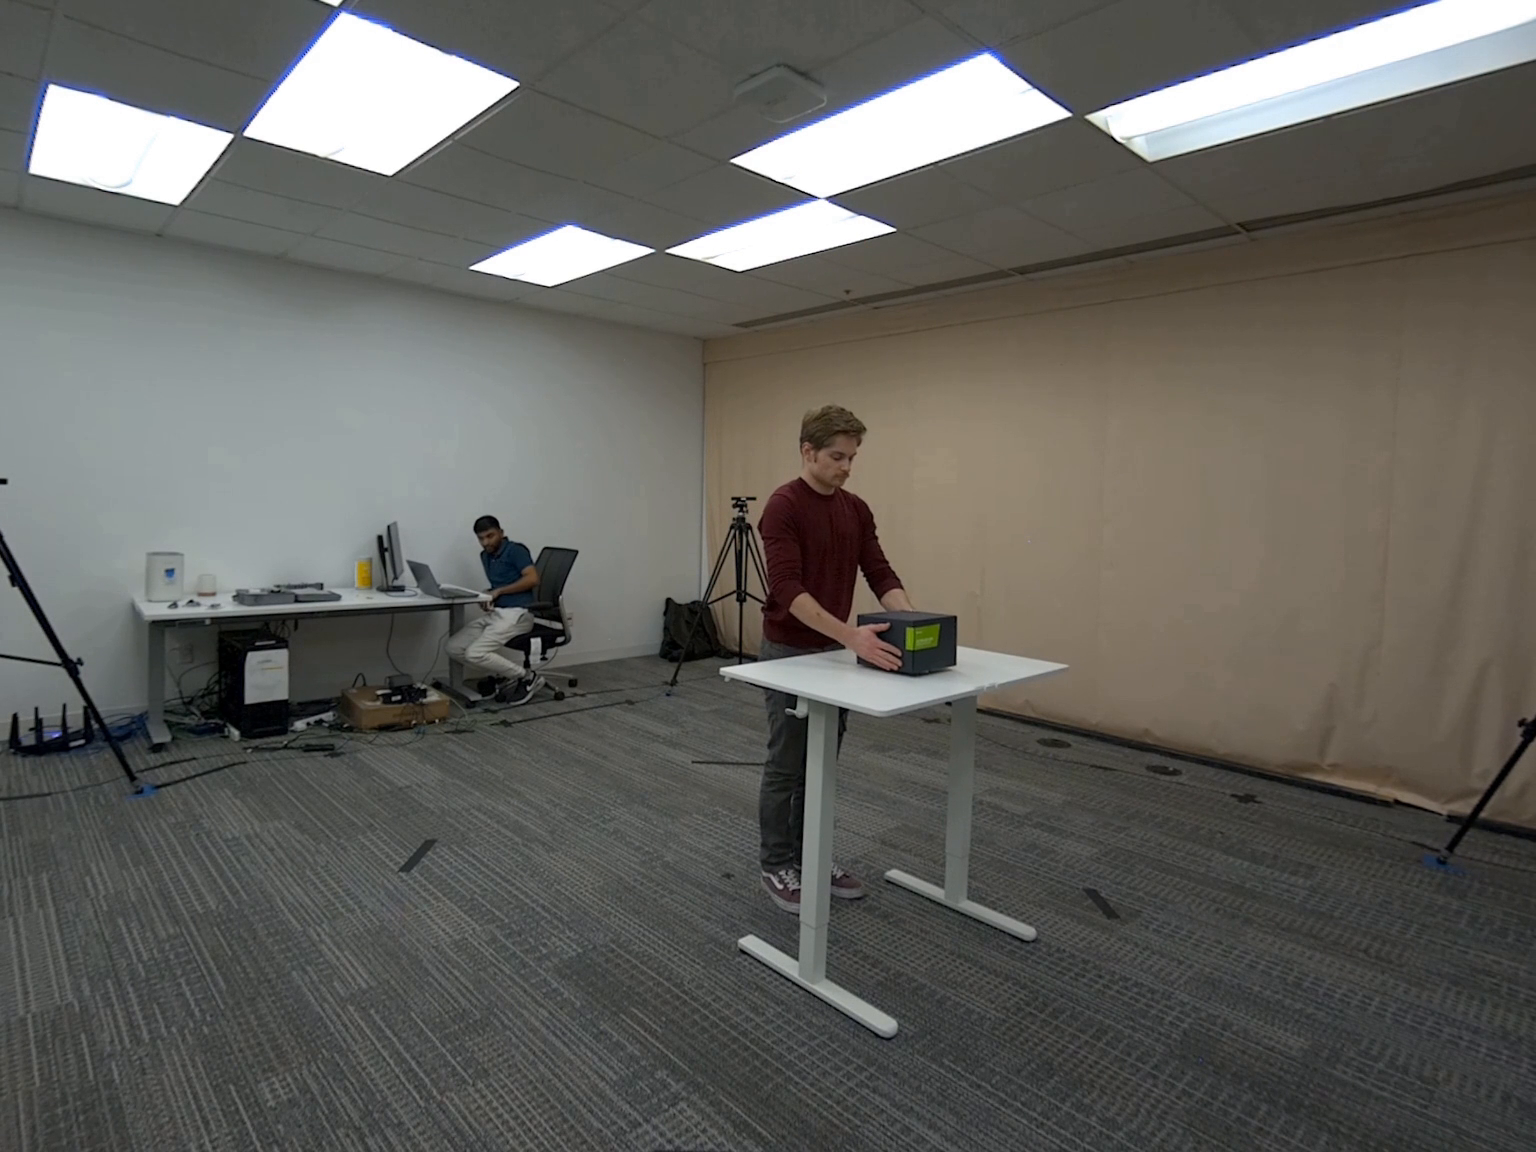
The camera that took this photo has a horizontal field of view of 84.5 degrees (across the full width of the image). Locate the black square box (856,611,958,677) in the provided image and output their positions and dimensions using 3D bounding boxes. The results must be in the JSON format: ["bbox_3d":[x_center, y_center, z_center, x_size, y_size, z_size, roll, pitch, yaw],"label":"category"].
[{"bbox_3d":[0.417,0.196,2.591,0.222,0.155,0.222,-2,5,-44],"label":"black square box"}]
